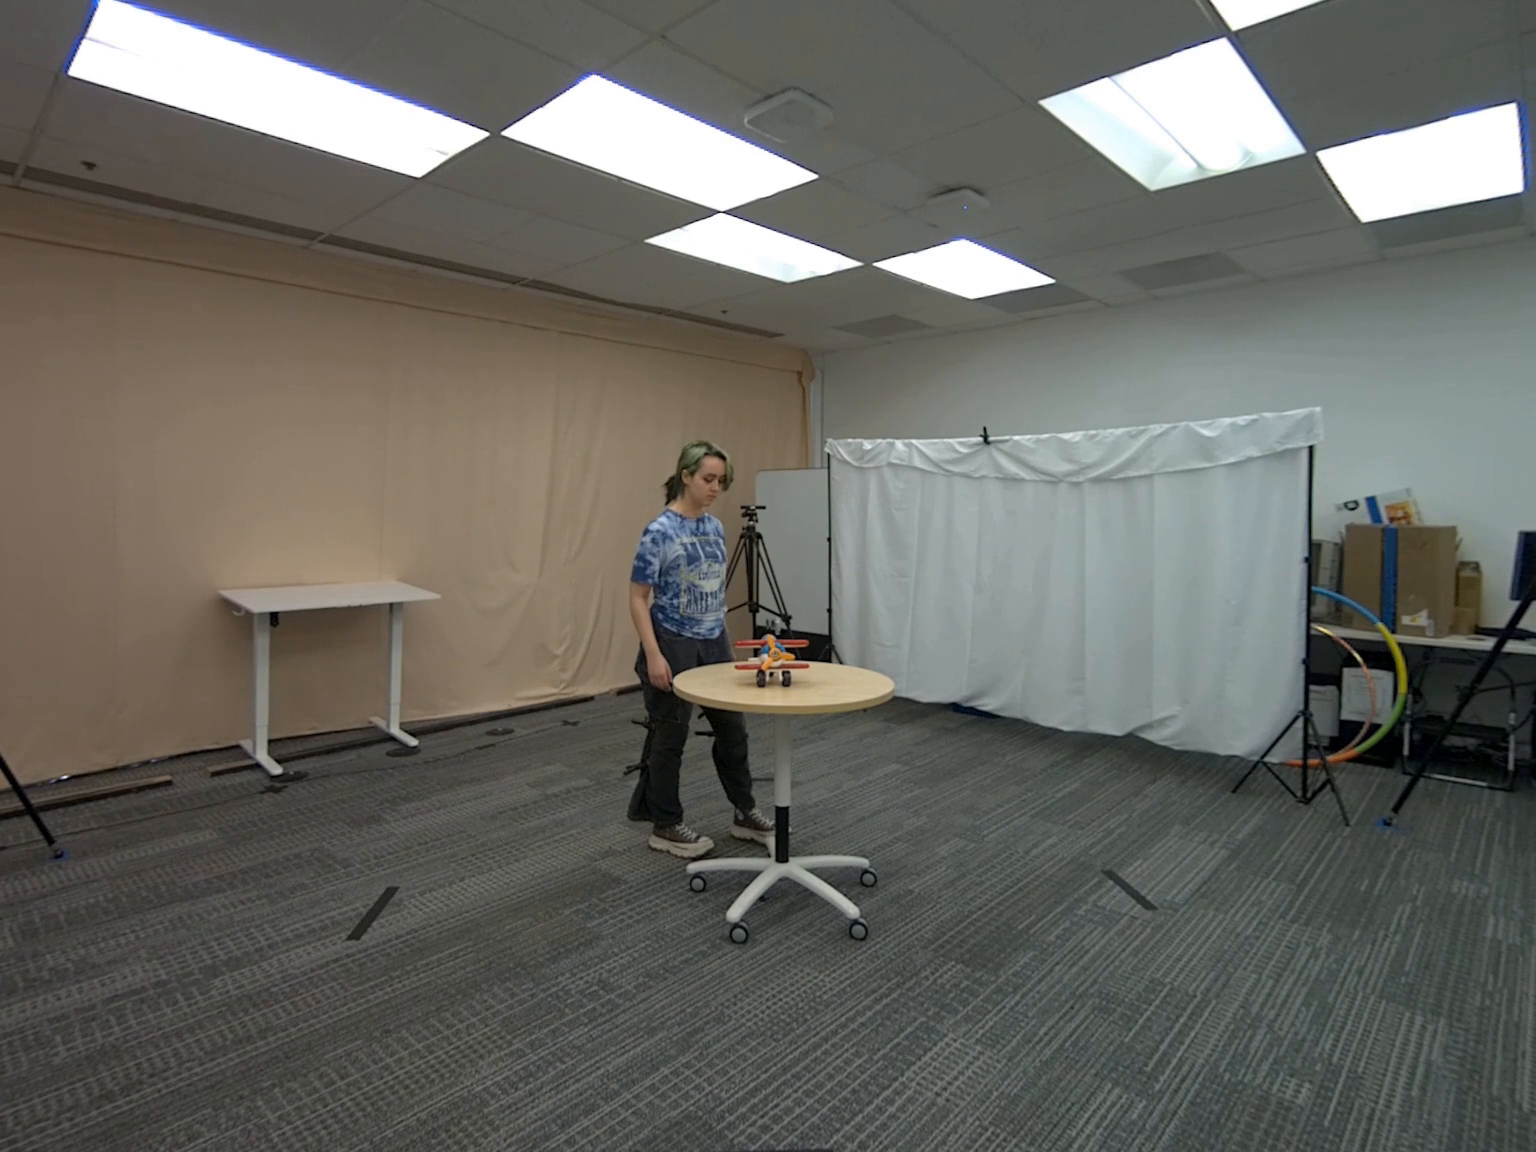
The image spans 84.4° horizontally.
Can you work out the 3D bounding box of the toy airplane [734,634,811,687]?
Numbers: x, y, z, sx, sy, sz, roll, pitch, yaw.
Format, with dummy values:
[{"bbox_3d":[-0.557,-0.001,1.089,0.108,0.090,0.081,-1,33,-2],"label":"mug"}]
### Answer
[{"bbox_3d":[-0.008,0.289,2.908,0.244,0.156,0.268,-3,7,-36],"label":"toy airplane"}]
